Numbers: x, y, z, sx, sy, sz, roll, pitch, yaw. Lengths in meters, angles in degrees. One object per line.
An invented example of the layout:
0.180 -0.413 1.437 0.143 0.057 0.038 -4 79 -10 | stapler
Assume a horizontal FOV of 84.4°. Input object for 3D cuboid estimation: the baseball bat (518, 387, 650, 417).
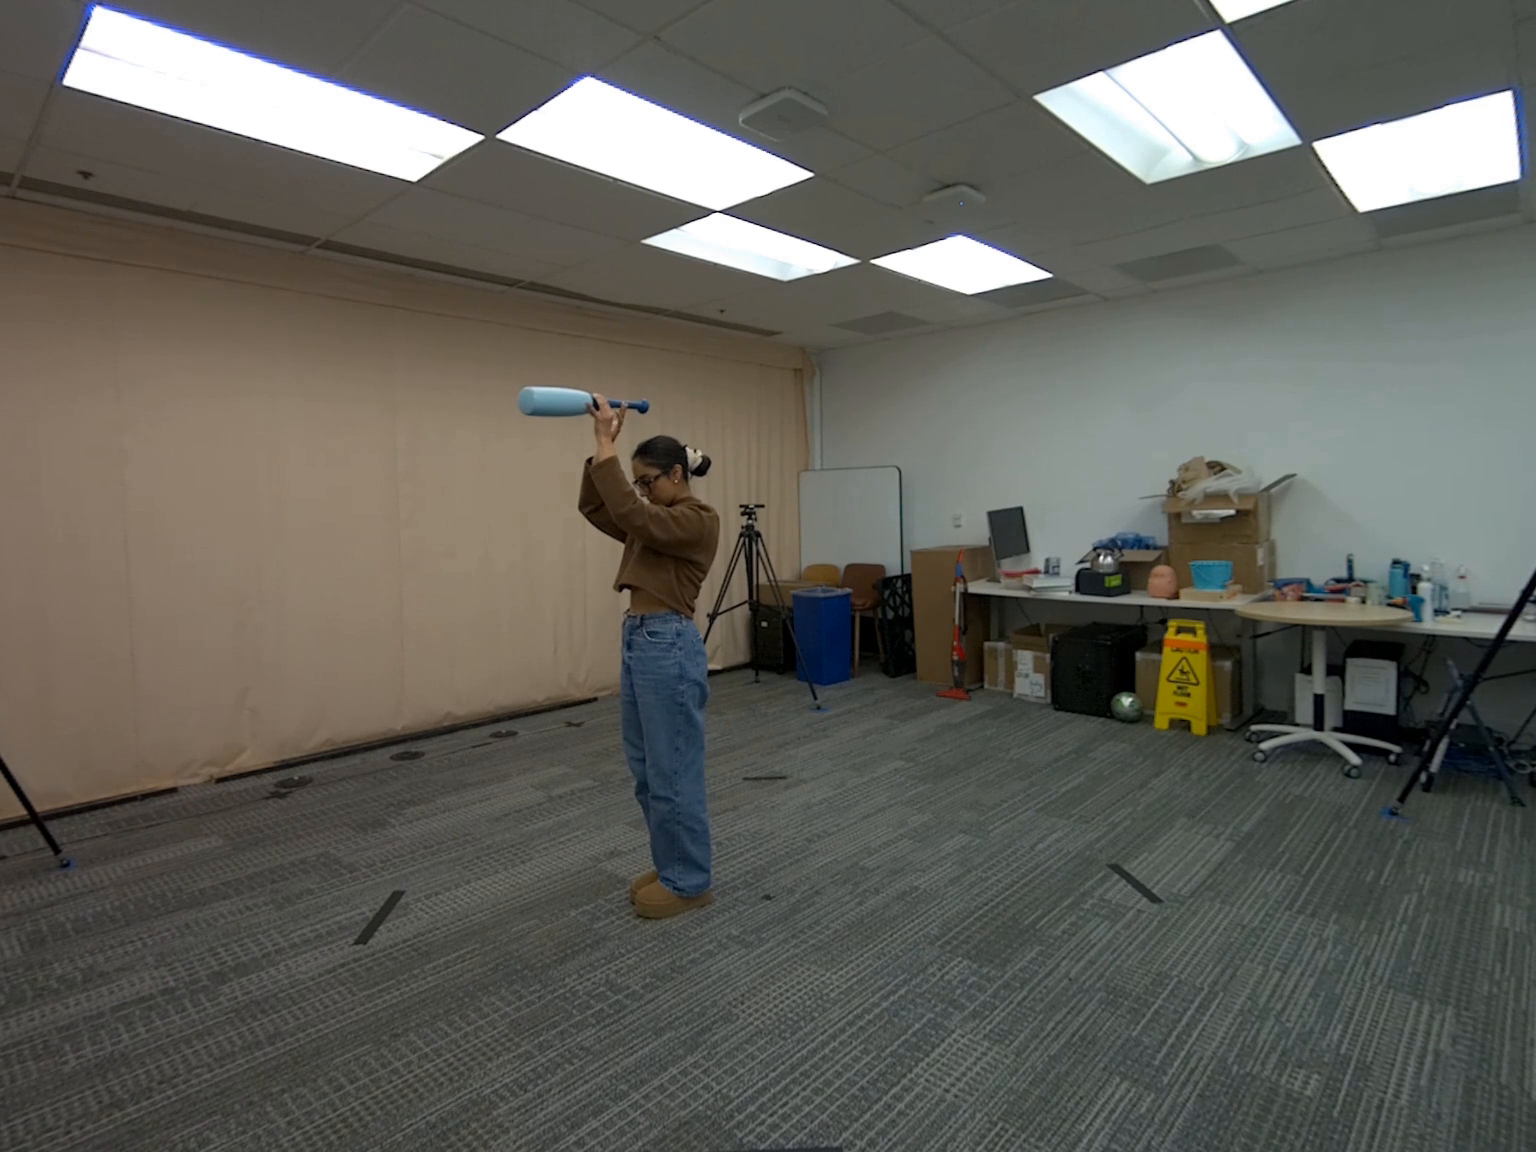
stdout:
-0.574 -0.560 2.713 0.092 0.088 0.529 2 9 33 | baseball bat
